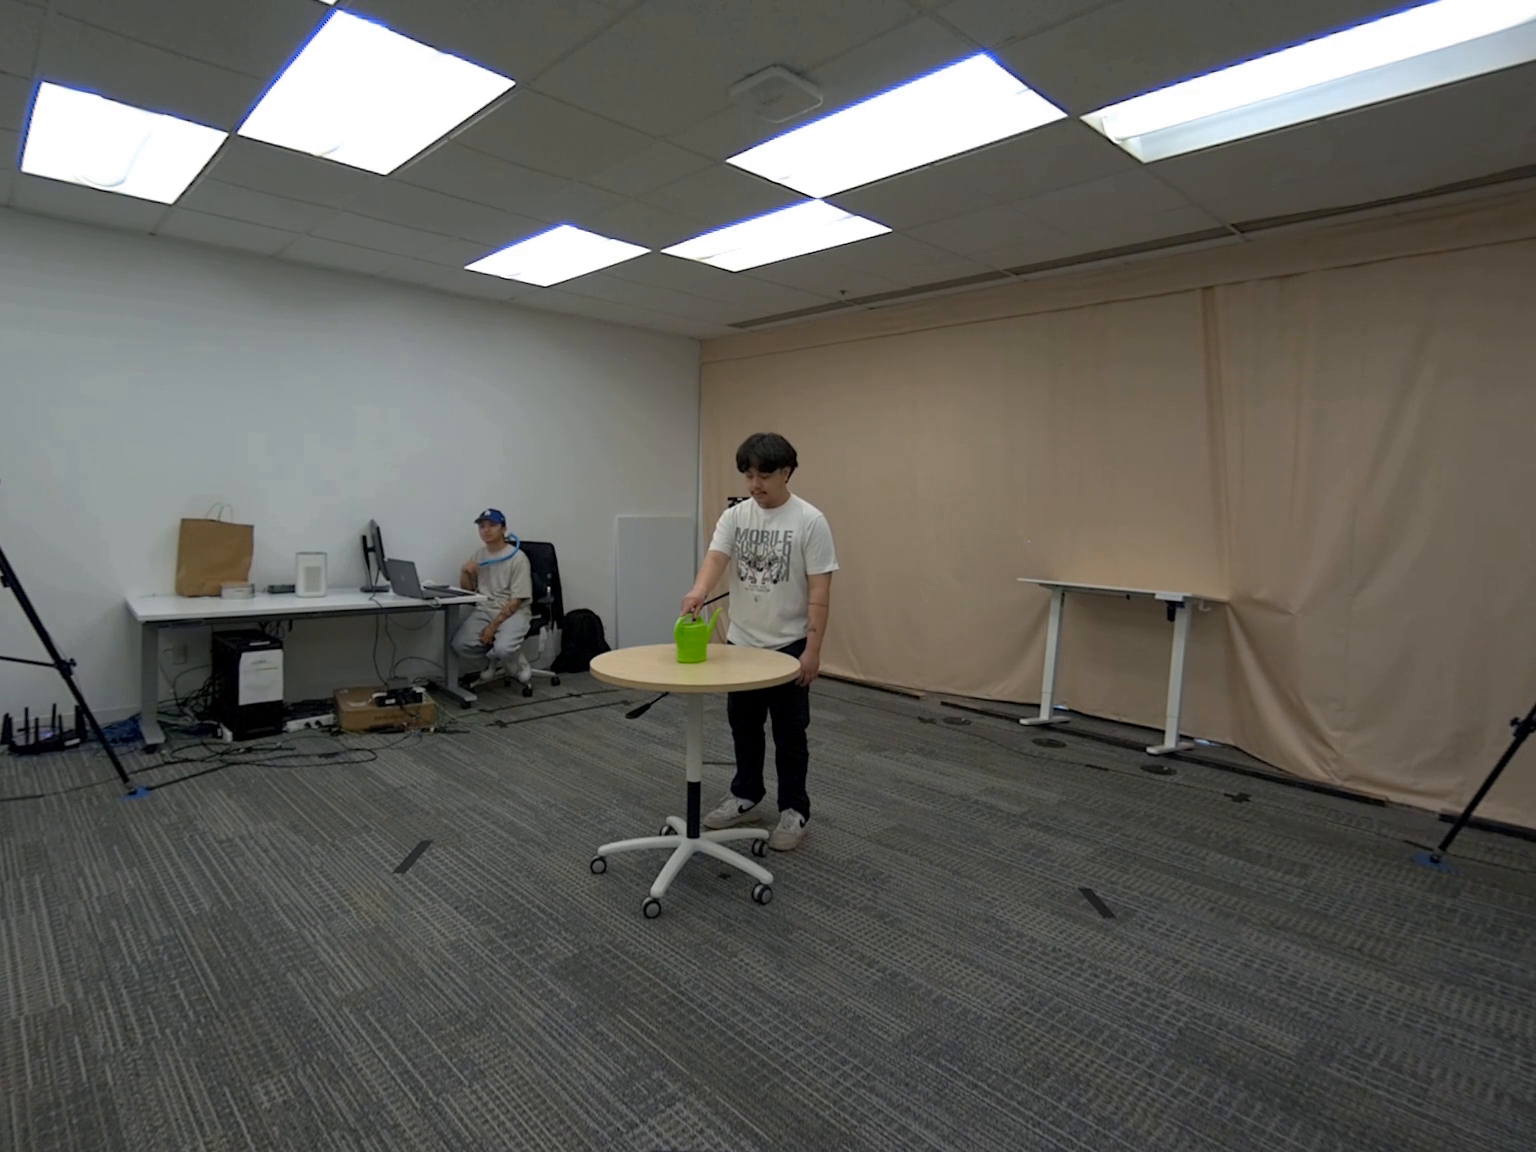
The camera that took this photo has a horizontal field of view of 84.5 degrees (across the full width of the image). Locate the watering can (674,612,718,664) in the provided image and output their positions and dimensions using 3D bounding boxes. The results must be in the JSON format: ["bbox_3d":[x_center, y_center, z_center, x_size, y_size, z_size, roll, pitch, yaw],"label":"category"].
[{"bbox_3d":[-0.266,0.222,3.116,0.100,0.176,0.272,4,8,43],"label":"watering can"}]
